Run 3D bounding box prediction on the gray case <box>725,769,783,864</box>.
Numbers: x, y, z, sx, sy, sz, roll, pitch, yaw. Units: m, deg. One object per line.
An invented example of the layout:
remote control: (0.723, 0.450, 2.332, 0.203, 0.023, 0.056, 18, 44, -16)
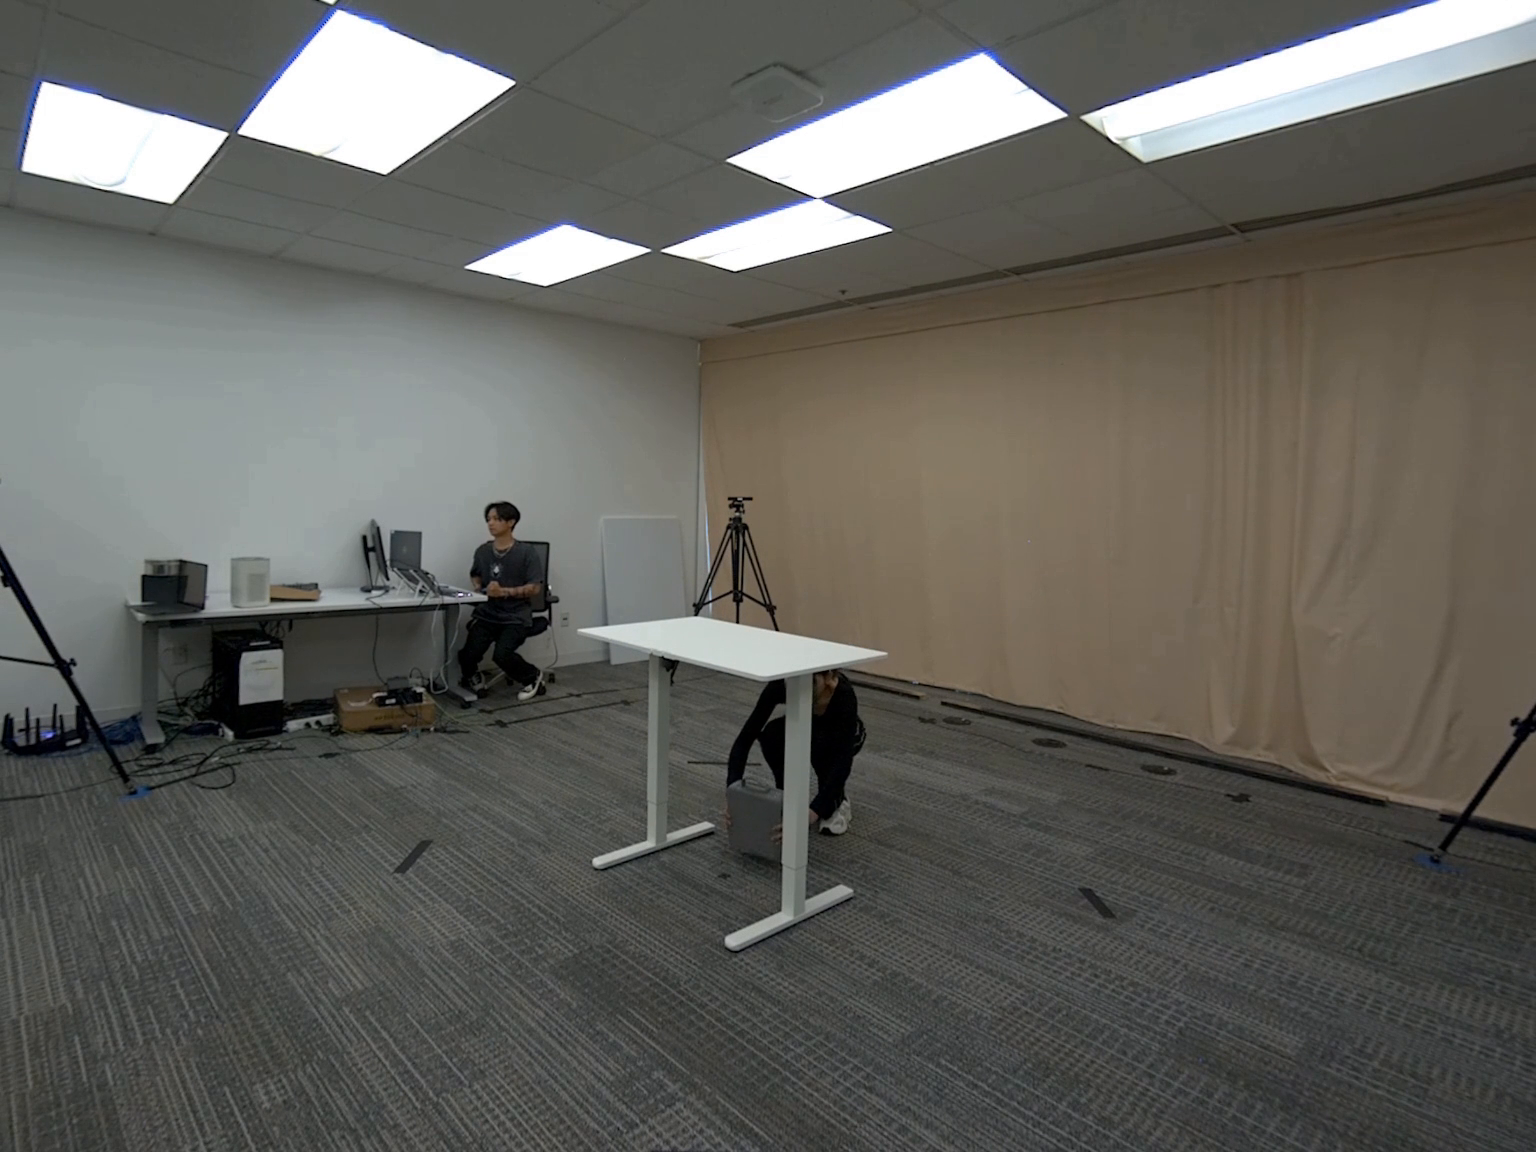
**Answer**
gray case: (-0.042, 0.931, 3.231, 0.263, 0.259, 0.102, 3, 10, 38)
